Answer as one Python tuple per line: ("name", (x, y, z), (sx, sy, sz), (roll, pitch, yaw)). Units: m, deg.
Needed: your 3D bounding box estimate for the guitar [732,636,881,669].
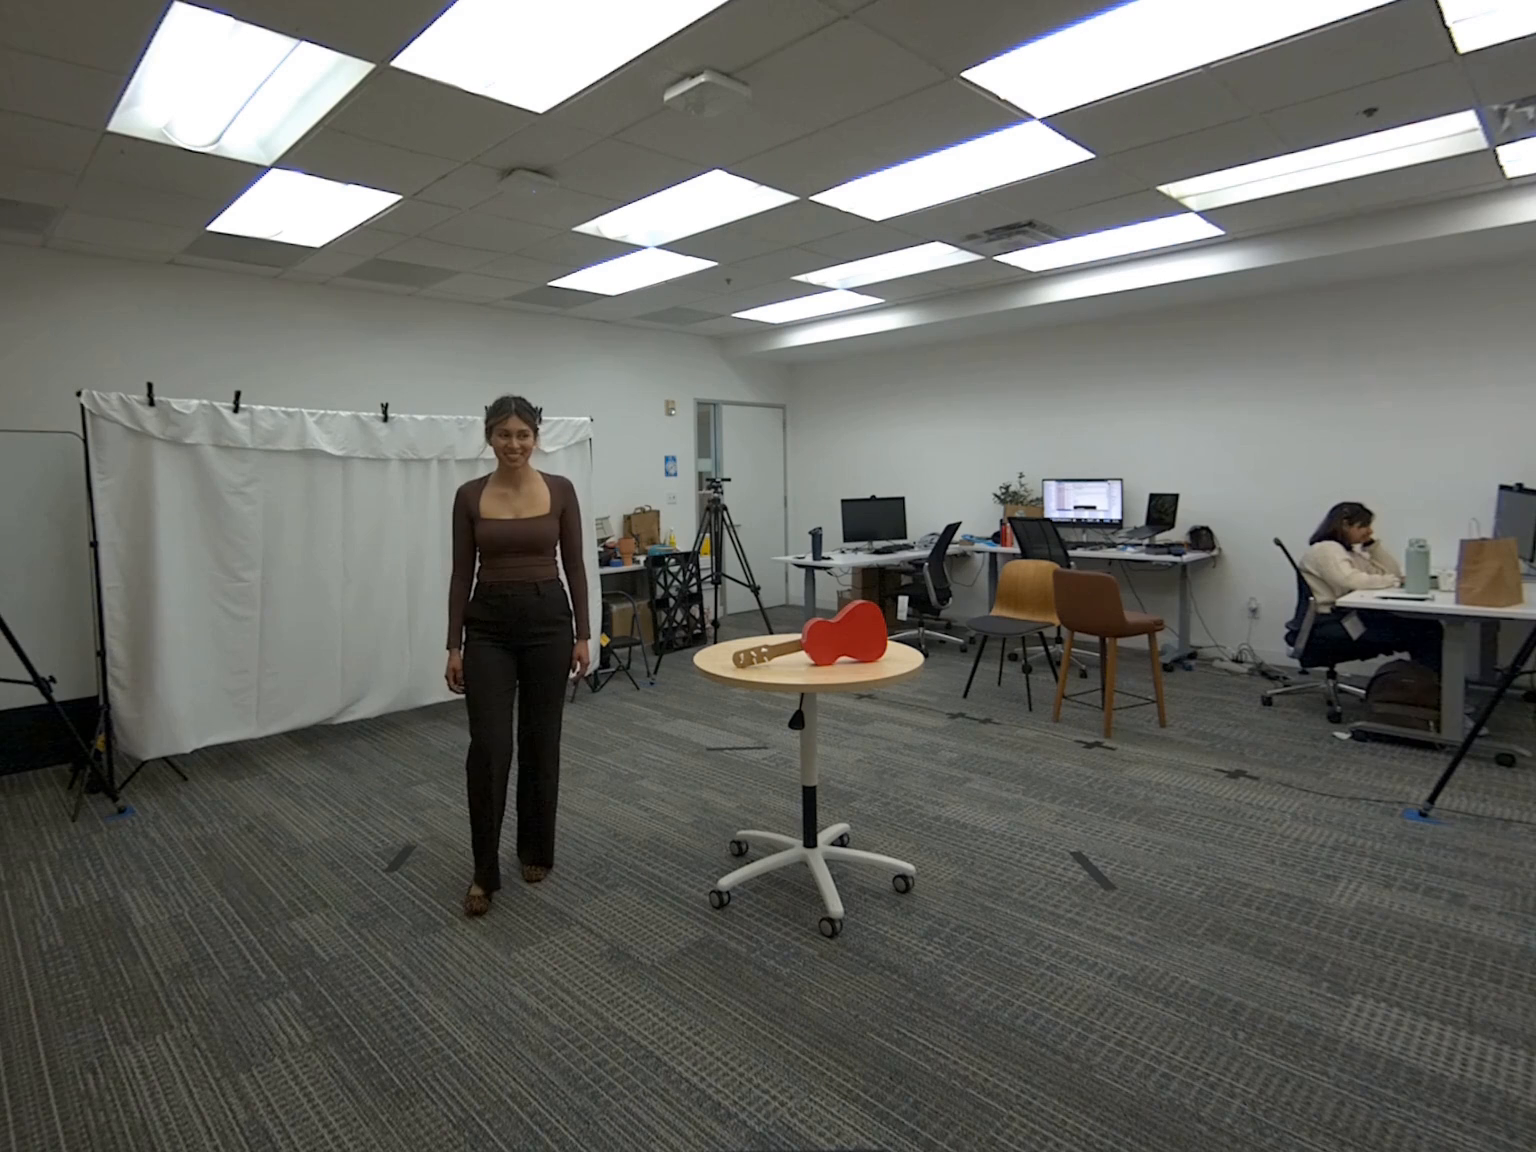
("guitar", (0.144, 0.240, 2.732), (0.495, 0.192, 0.071), (-21, 6, -9))
